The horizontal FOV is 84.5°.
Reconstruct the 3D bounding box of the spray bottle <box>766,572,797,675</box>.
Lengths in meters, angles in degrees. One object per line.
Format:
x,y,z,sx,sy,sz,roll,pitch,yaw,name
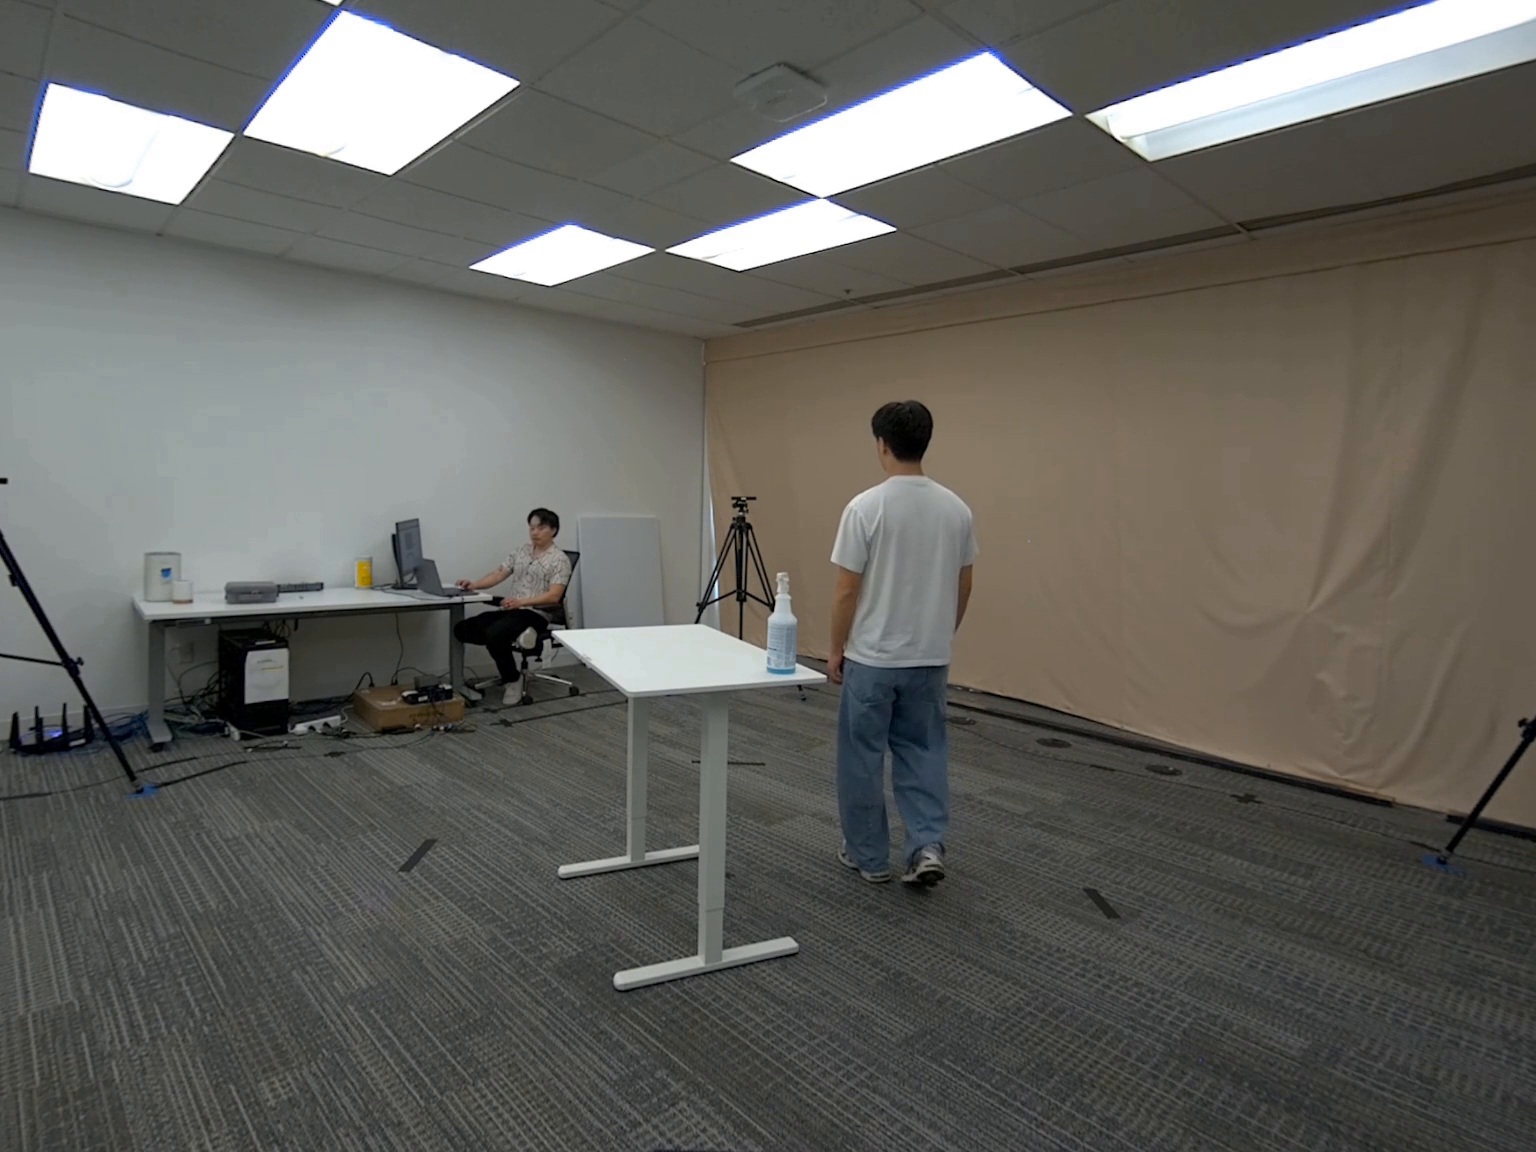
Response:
0.036,0.141,2.484,0.089,0.296,0.088,5,7,43,spray bottle
